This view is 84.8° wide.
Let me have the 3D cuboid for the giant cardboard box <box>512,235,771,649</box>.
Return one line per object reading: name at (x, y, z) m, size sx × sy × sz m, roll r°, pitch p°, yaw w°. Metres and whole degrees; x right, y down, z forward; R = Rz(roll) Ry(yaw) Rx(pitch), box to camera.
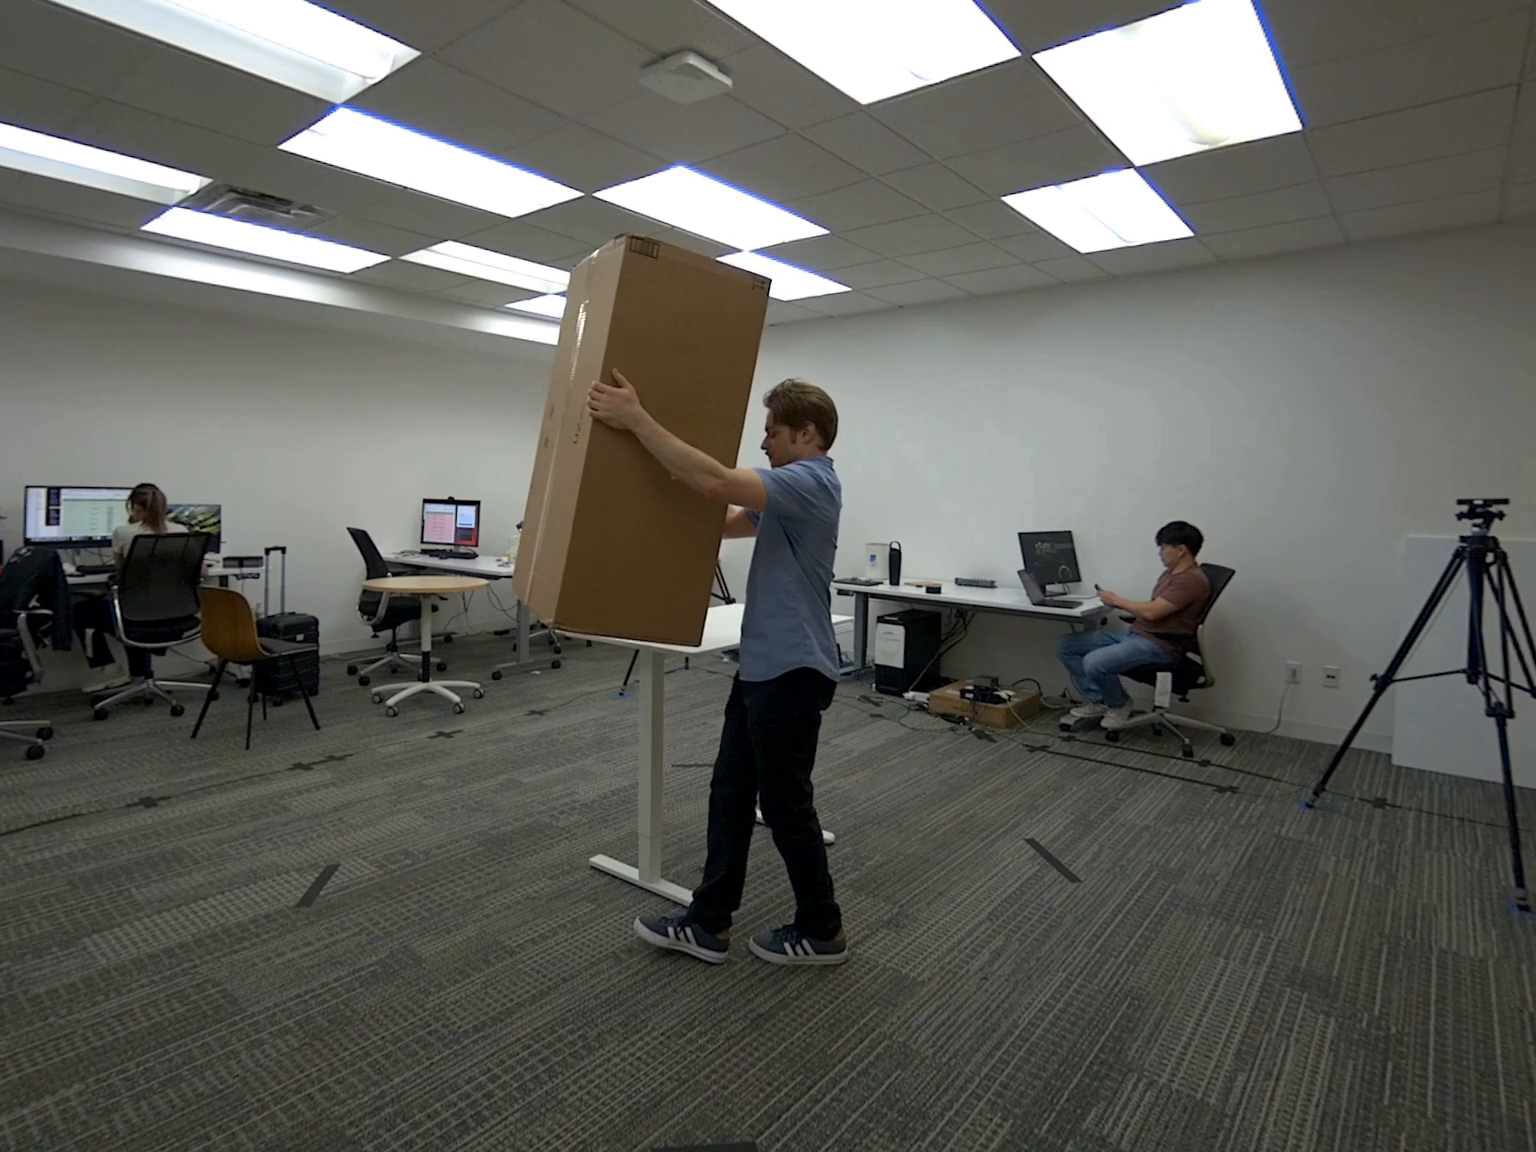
giant cardboard box at (-0.409, -0.373, 2.475) m, size 0.414 × 1.024 × 0.595 m, roll 10°, pitch 2°, yaw -27°
